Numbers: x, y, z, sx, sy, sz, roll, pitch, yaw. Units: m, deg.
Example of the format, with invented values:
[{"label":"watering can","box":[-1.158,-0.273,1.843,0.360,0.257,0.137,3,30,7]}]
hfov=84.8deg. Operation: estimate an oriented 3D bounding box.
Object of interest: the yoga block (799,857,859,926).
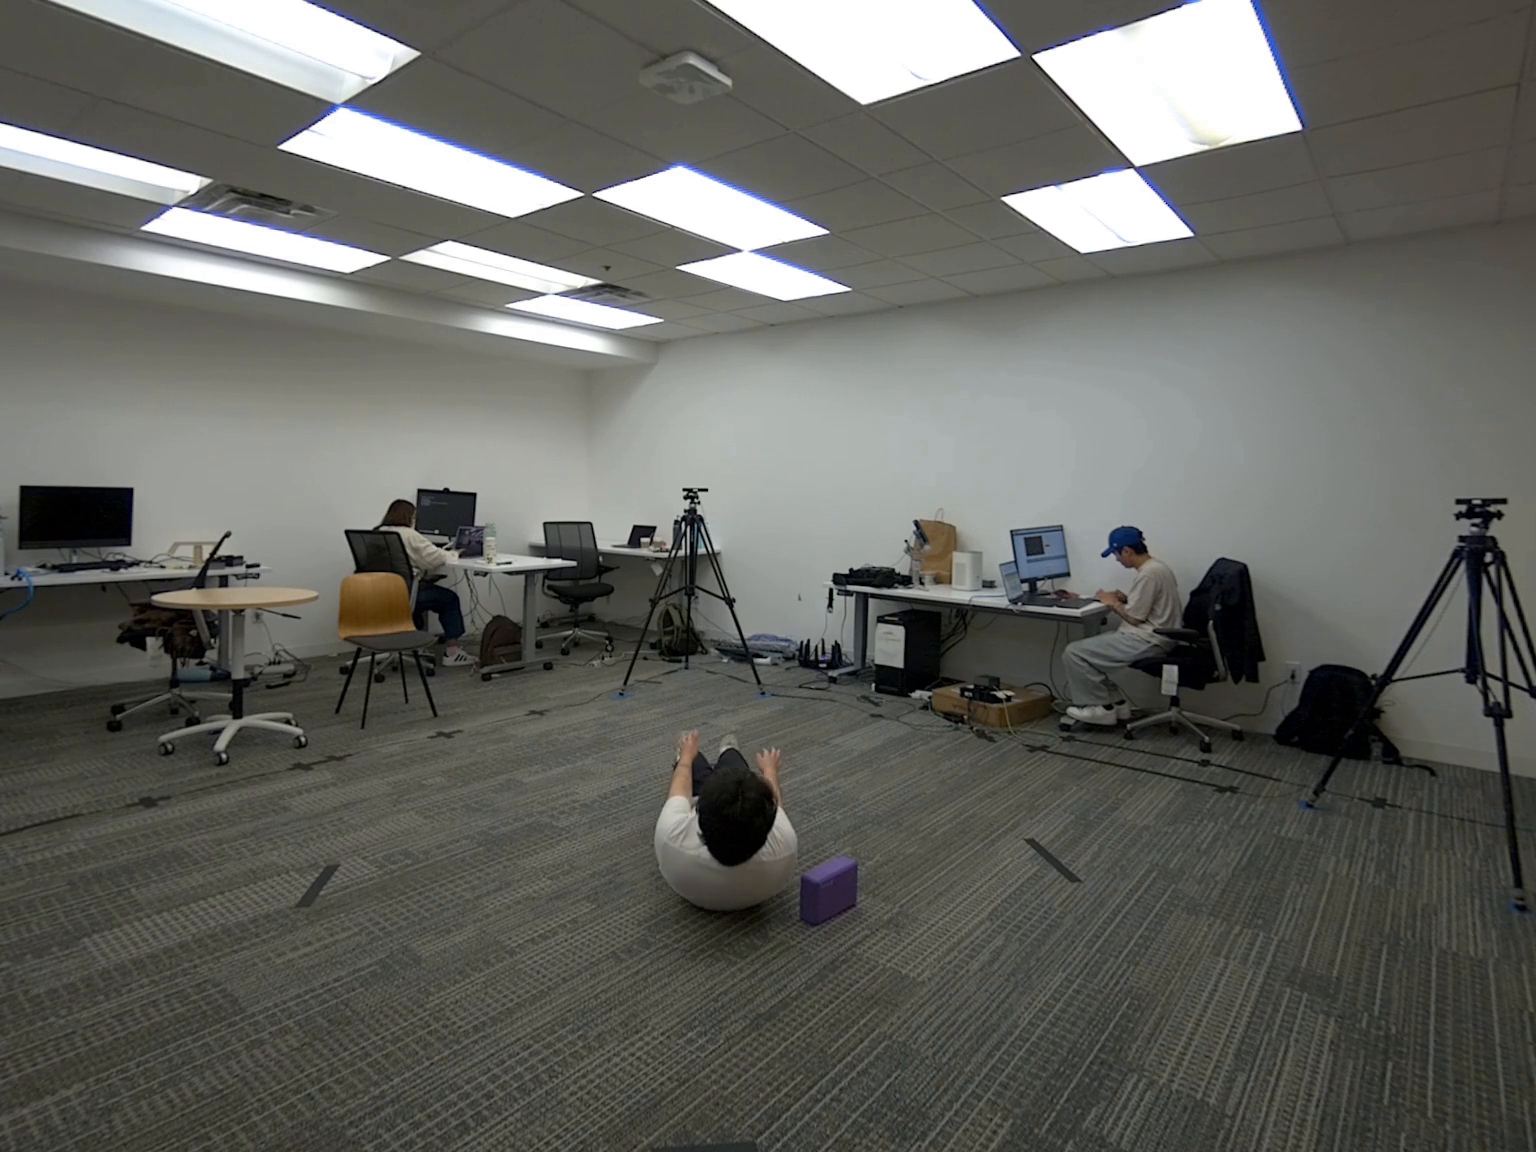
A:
[{"label":"yoga block","box":[0.197,1.036,2.810,0.079,0.148,0.222,5,5,43]}]
